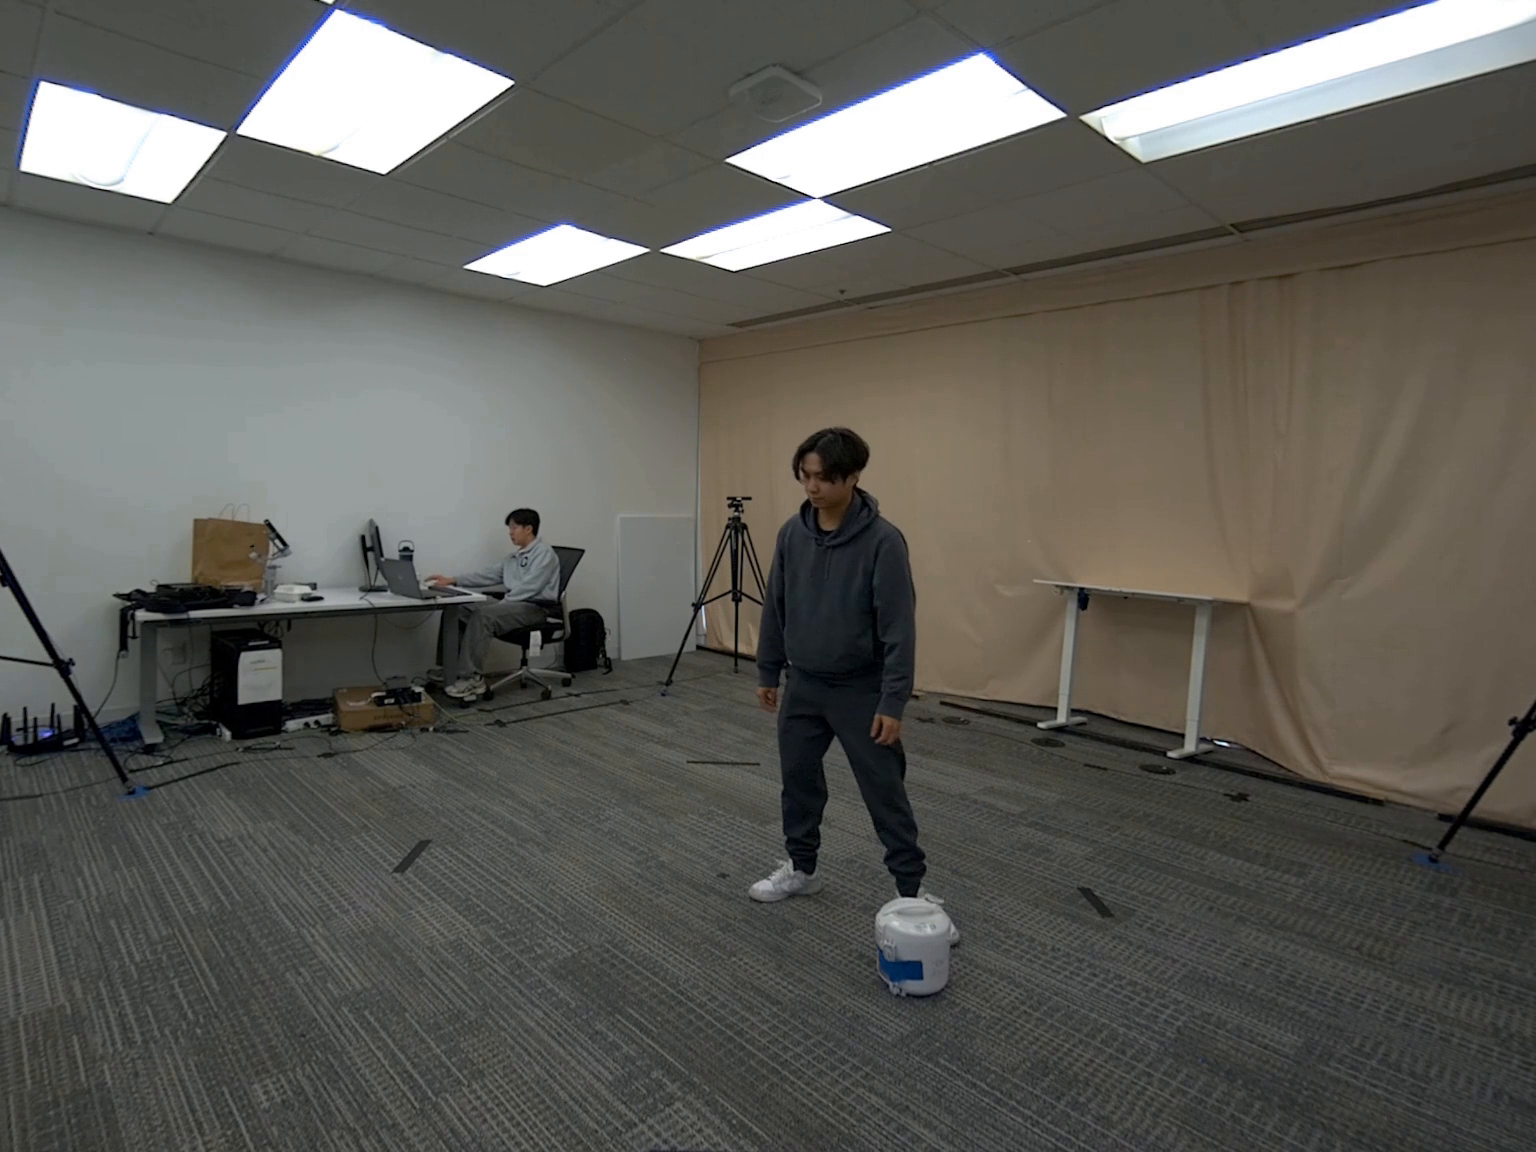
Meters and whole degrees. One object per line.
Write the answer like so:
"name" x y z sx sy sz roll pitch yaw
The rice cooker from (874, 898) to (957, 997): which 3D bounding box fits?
"rice cooker" 0.413 1.066 2.453 0.219 0.232 0.219 1 5 -6
